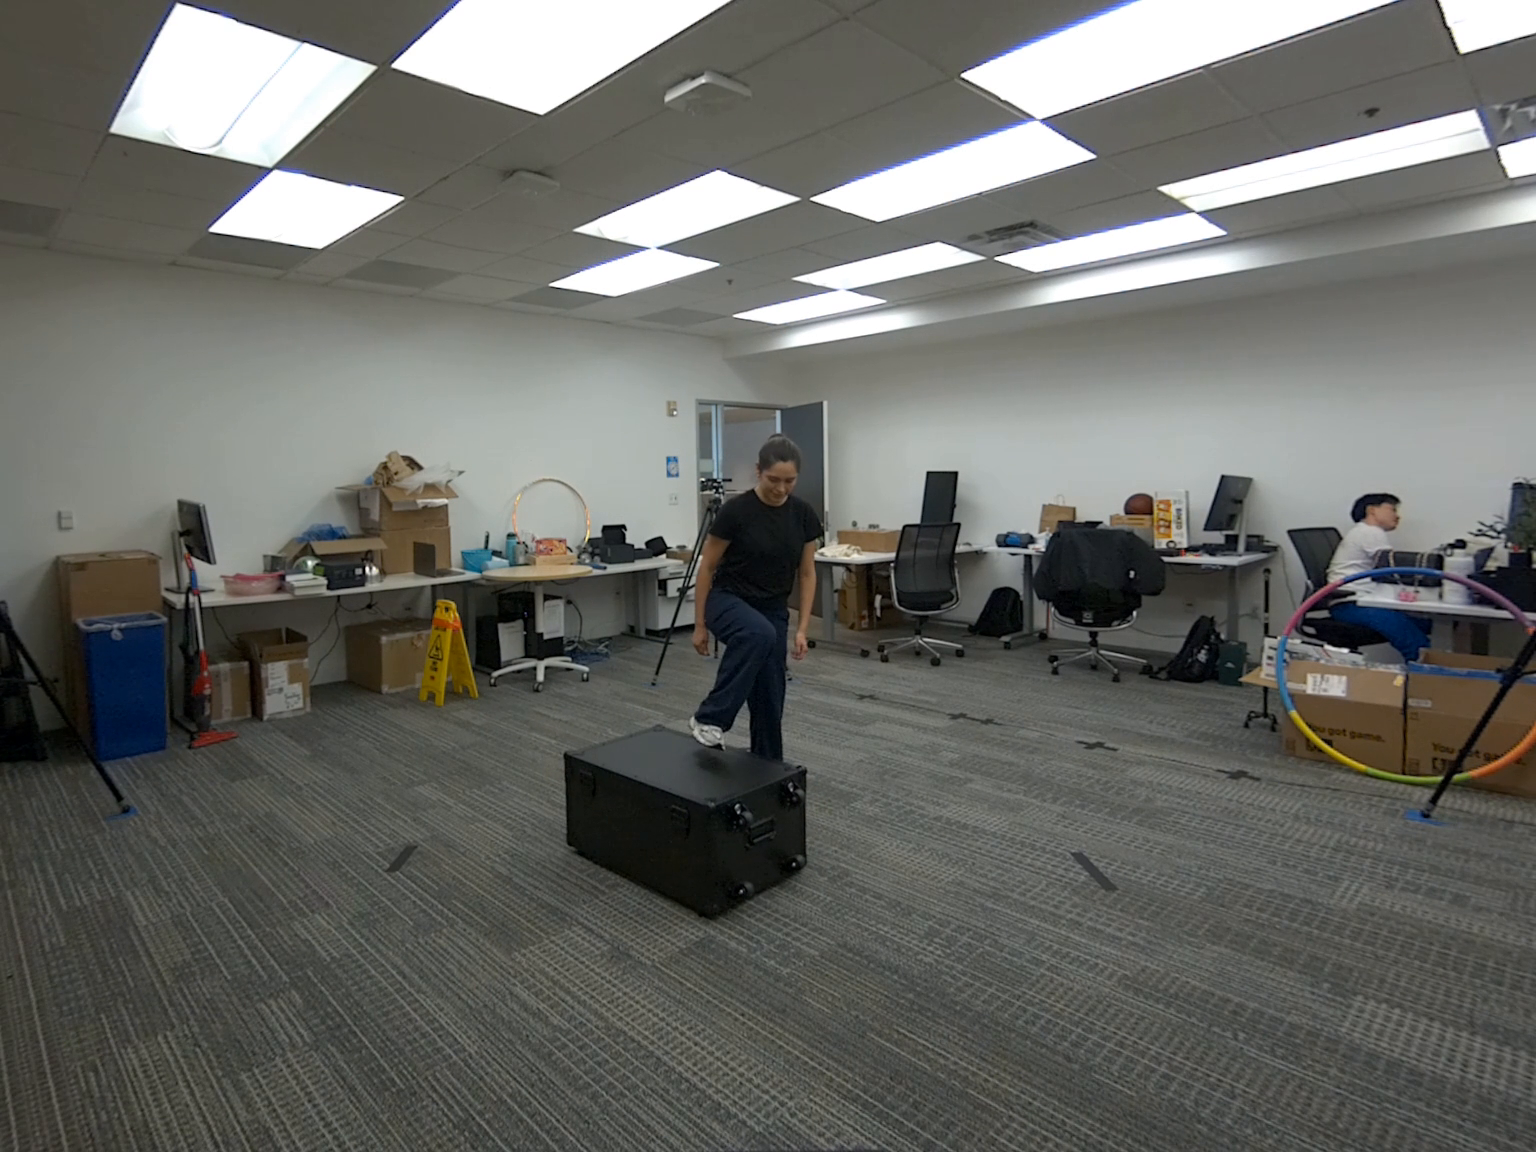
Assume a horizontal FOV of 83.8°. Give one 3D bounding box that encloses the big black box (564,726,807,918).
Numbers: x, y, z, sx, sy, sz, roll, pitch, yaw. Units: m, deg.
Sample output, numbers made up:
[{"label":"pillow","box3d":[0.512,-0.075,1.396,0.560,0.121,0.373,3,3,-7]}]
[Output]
[{"label":"big black box","box3d":[-0.292,0.857,3.107,0.888,0.395,0.508,4,7,42]}]
